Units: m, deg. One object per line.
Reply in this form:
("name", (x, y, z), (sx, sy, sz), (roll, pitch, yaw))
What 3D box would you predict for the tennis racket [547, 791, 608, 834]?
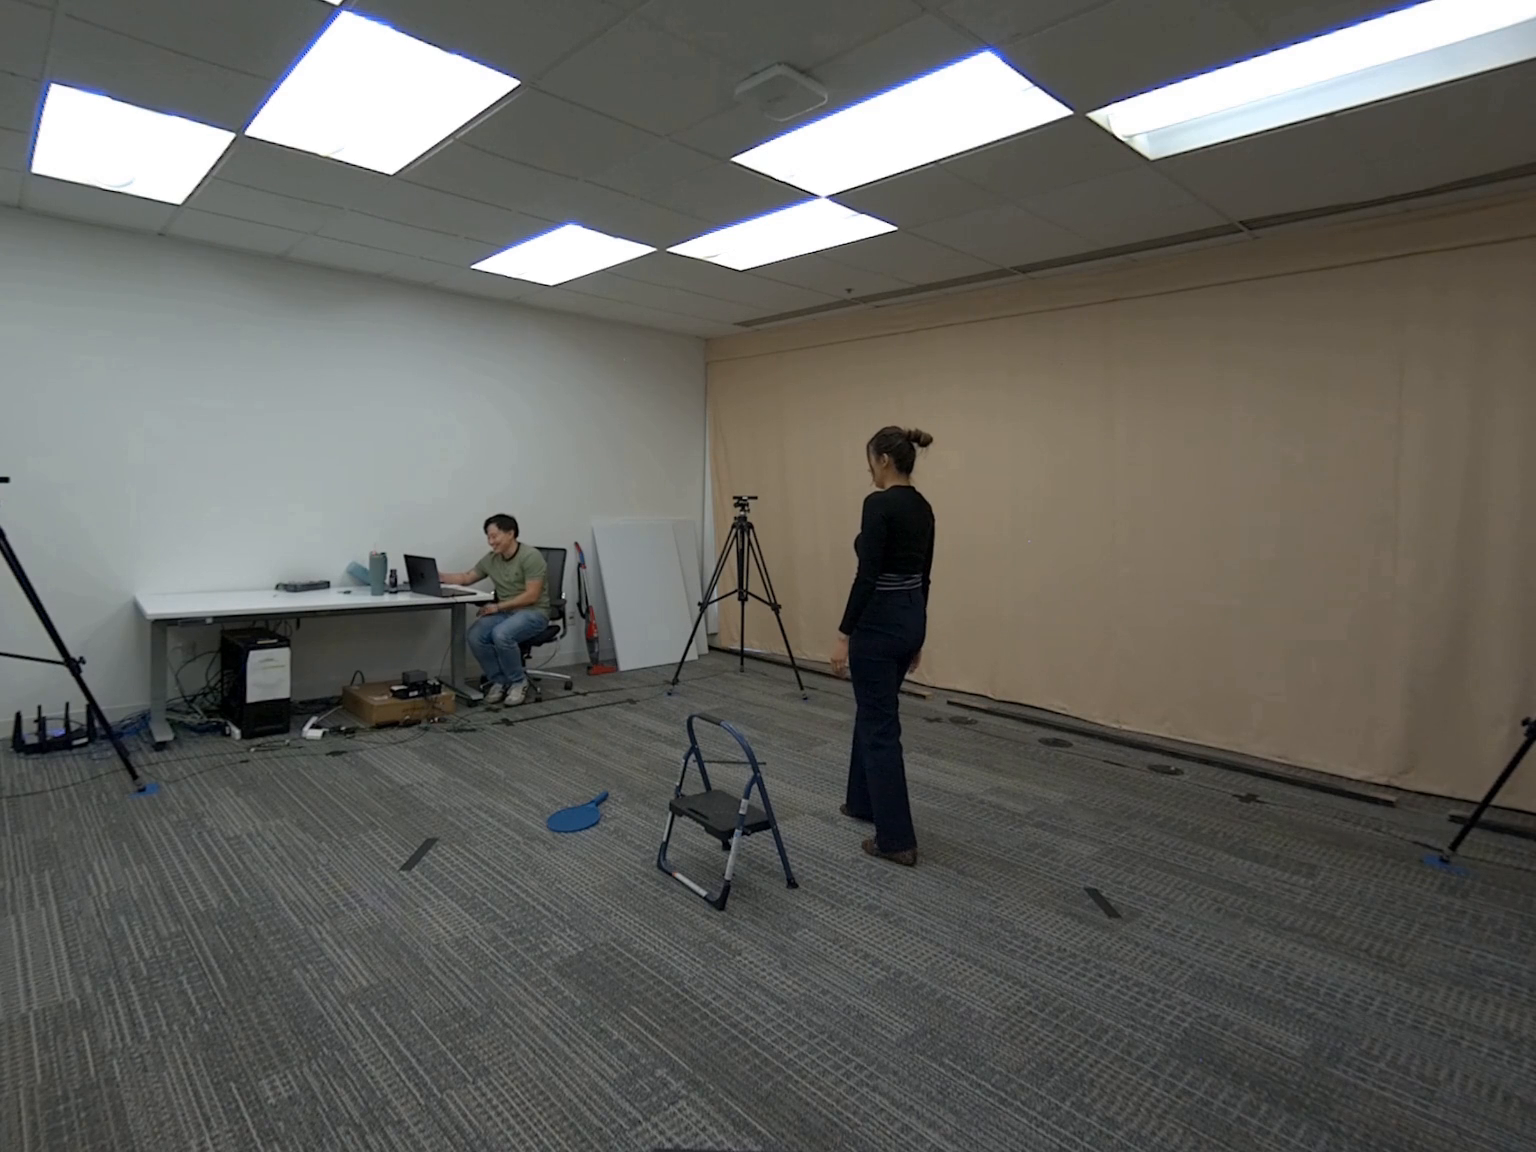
("tennis racket", (-0.810, 1.022, 3.662), (0.216, 0.031, 0.429), (2, 6, 15))
